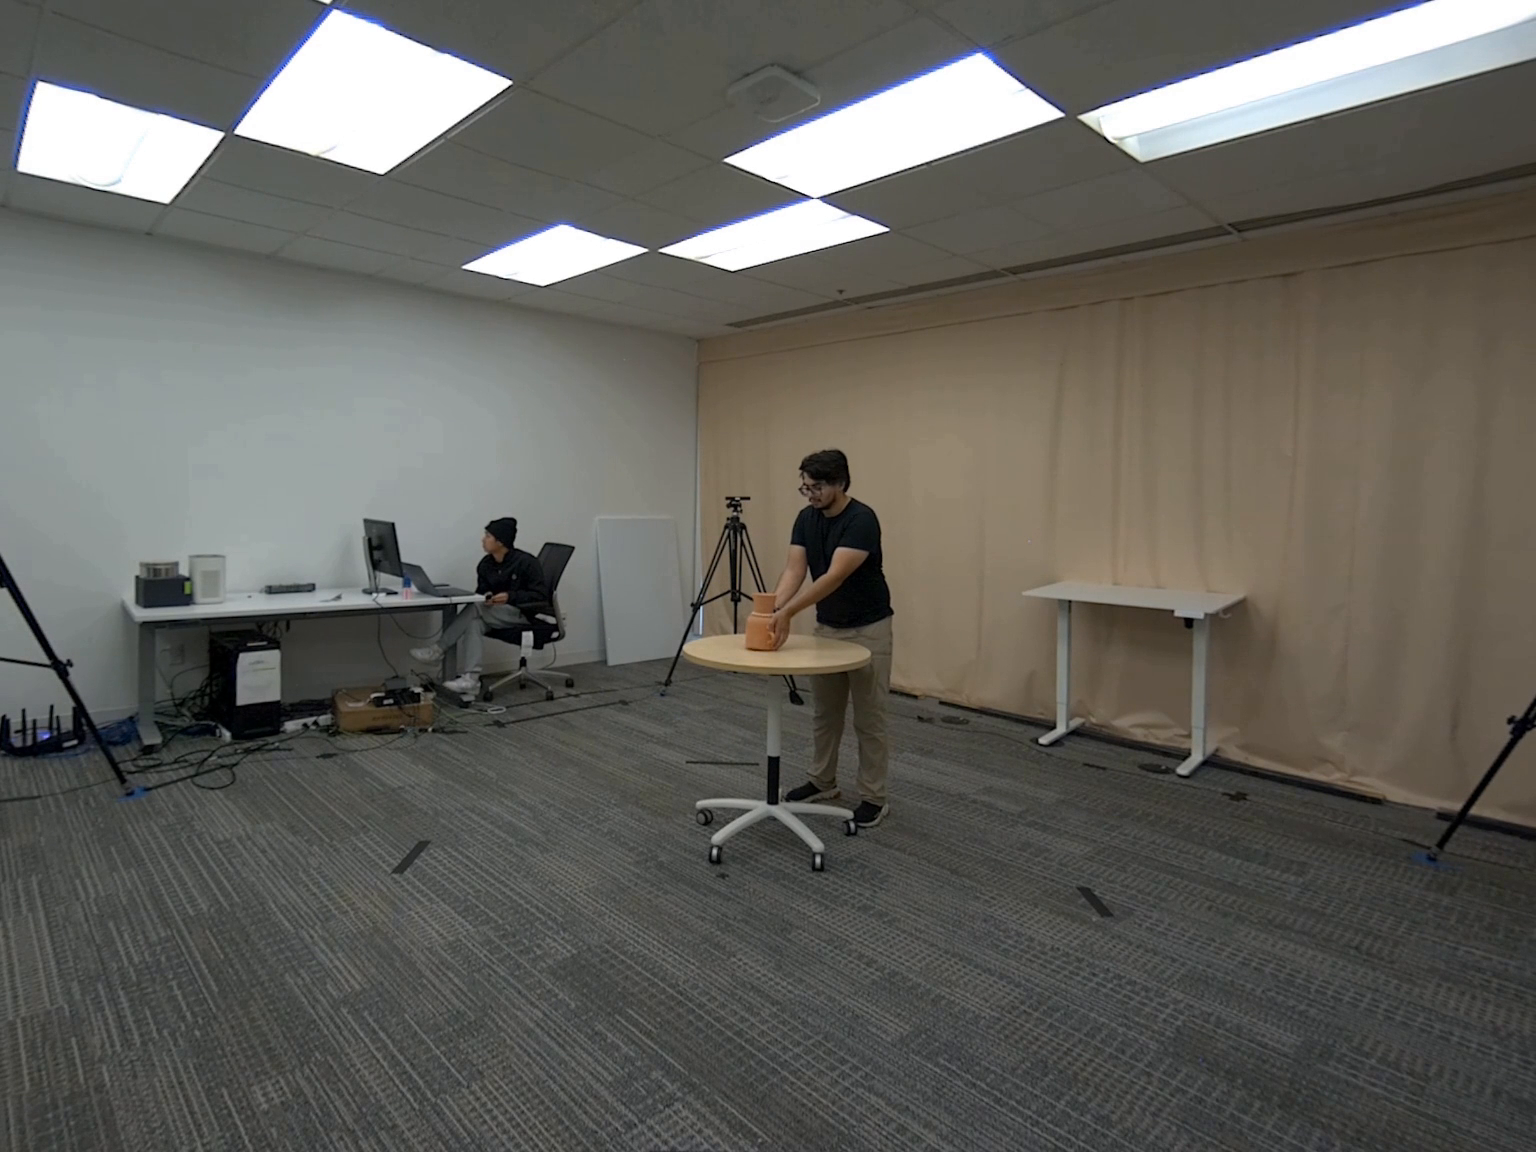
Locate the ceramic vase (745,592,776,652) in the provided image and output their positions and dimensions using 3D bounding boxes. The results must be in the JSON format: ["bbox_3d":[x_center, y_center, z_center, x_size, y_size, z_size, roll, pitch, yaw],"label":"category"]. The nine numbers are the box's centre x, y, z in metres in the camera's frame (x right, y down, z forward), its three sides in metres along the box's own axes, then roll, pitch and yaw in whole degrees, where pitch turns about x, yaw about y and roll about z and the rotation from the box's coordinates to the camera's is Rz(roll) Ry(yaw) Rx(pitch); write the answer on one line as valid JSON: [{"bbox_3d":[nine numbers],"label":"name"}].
[{"bbox_3d":[-0.024,0.182,3.443,0.162,0.219,0.132,5,1,23],"label":"ceramic vase"}]
